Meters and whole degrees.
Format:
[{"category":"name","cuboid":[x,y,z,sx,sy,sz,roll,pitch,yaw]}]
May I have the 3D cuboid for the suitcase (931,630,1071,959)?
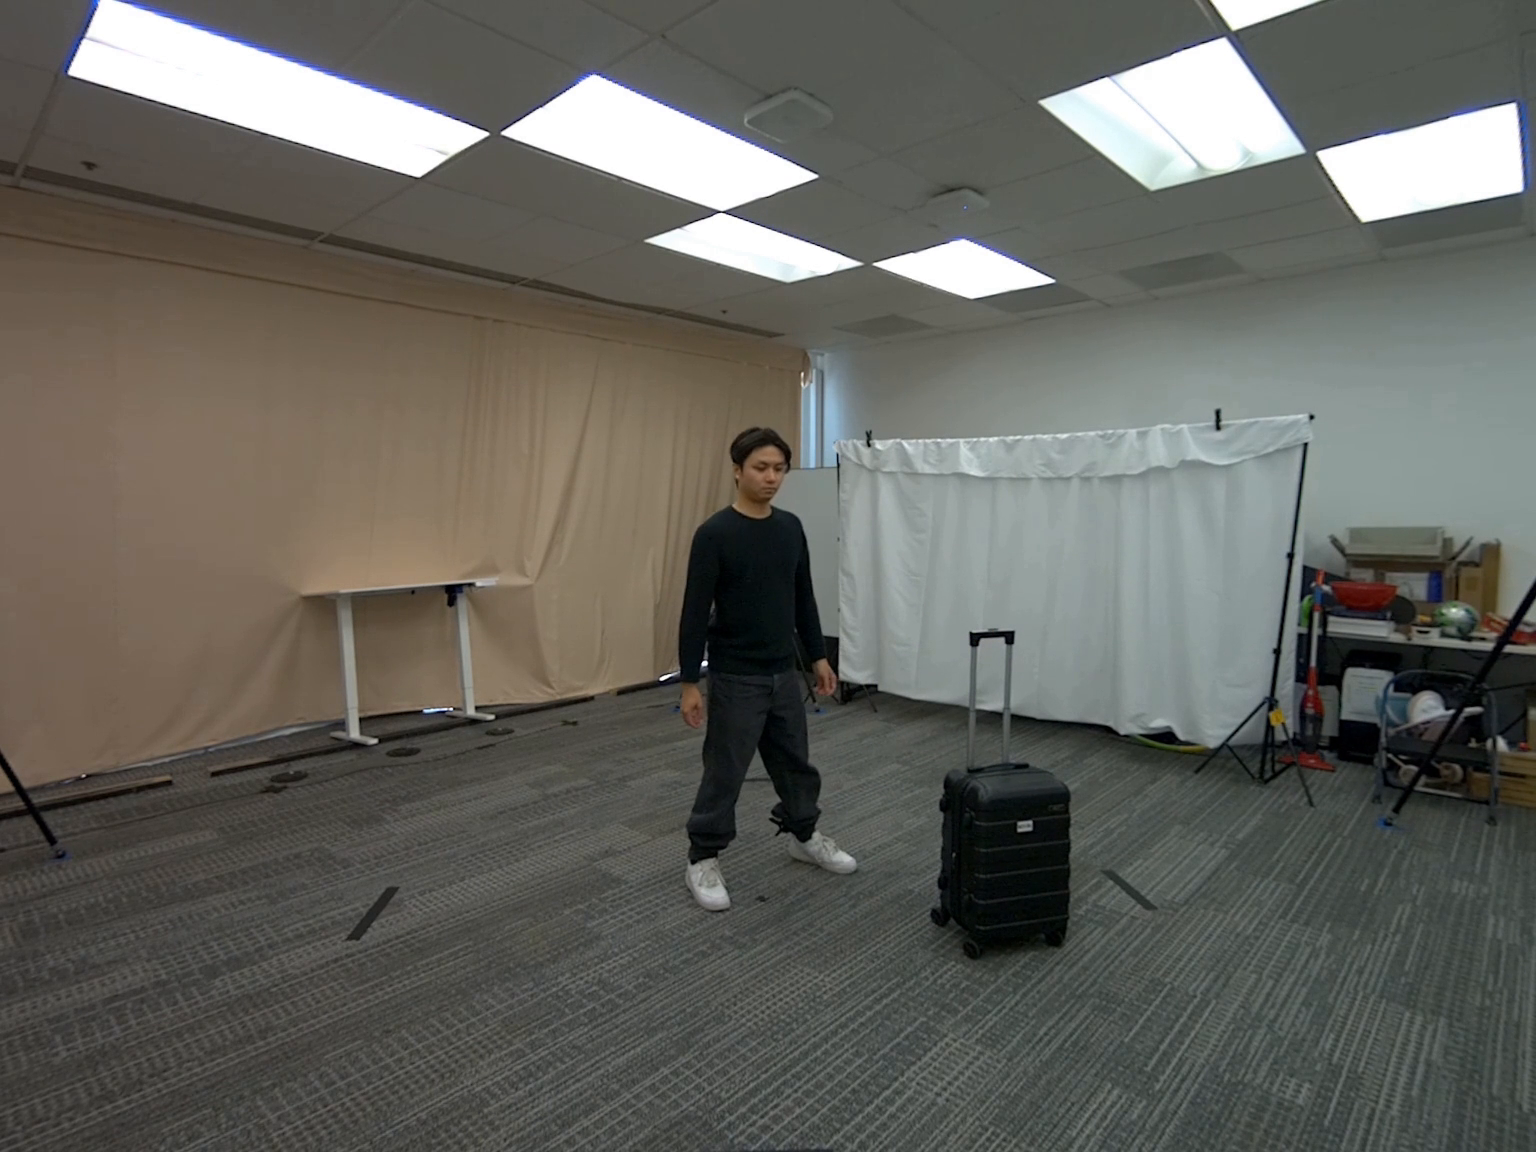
[{"category":"suitcase","cuboid":[0.778,0.694,2.684,0.378,0.976,0.261,0,4,-14]}]
